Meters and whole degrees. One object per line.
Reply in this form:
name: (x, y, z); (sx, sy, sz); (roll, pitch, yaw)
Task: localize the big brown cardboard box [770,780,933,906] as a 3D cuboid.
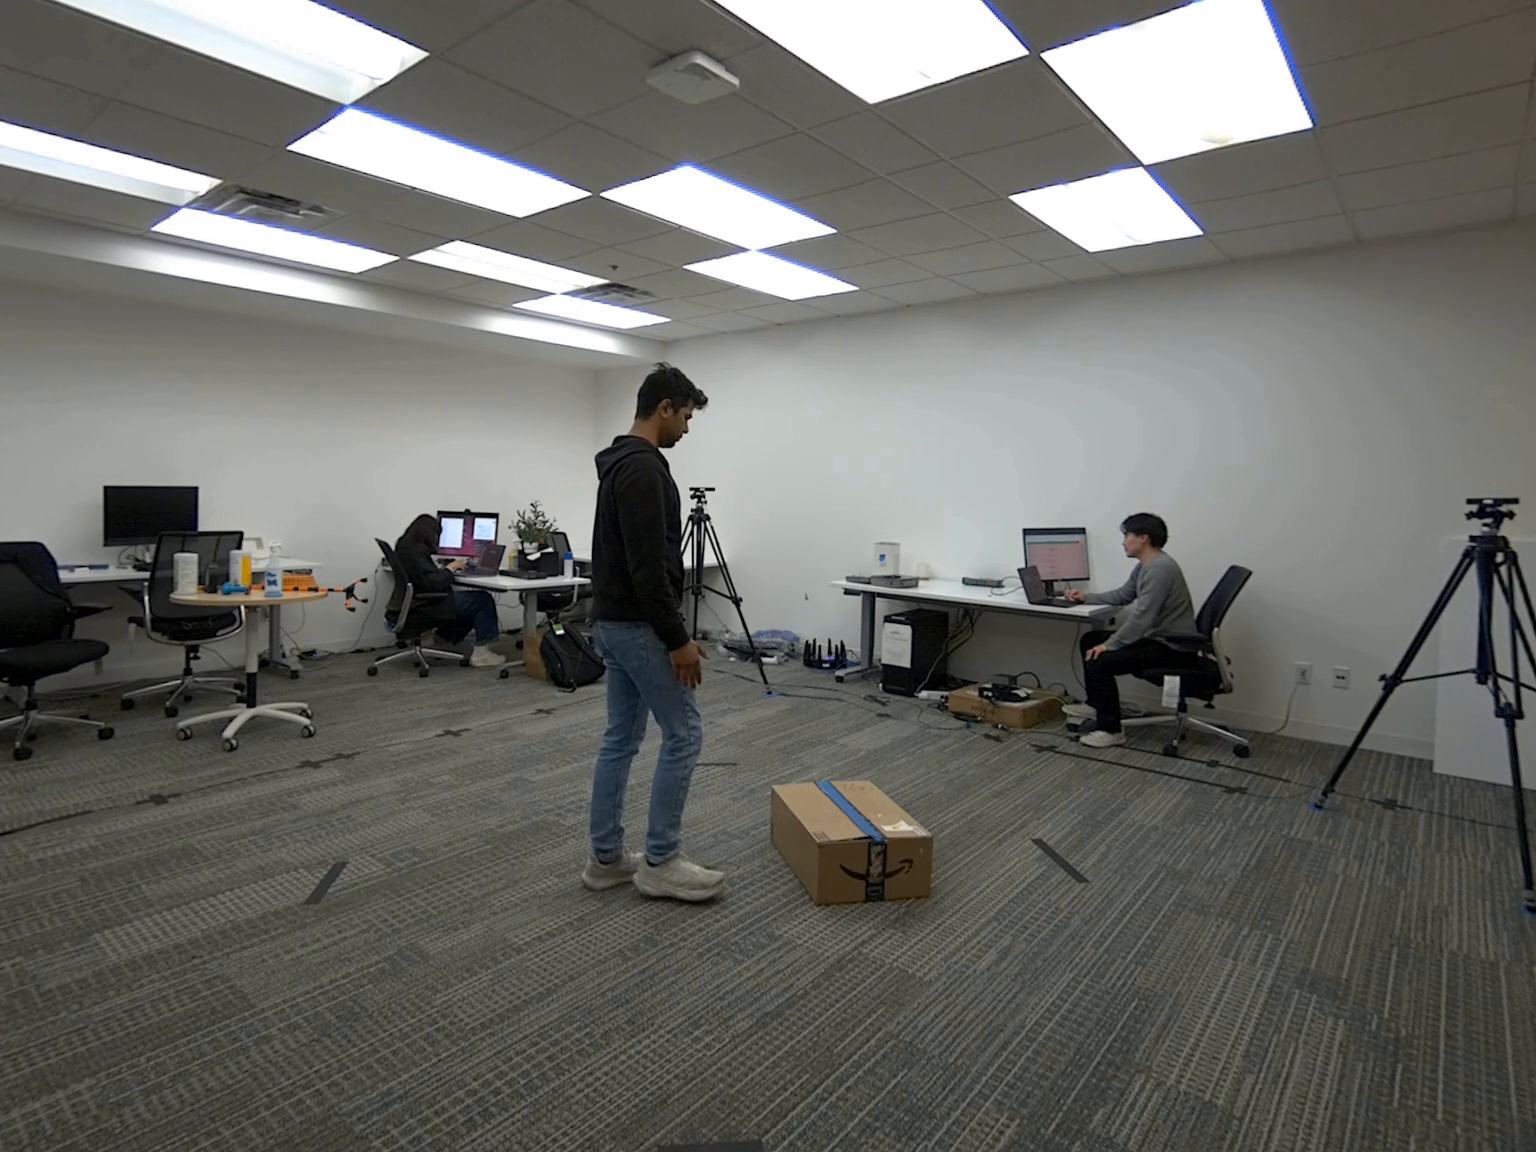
big brown cardboard box: (0.280, 0.961, 3.144); (0.411, 0.232, 0.600); (0, 4, -15)
